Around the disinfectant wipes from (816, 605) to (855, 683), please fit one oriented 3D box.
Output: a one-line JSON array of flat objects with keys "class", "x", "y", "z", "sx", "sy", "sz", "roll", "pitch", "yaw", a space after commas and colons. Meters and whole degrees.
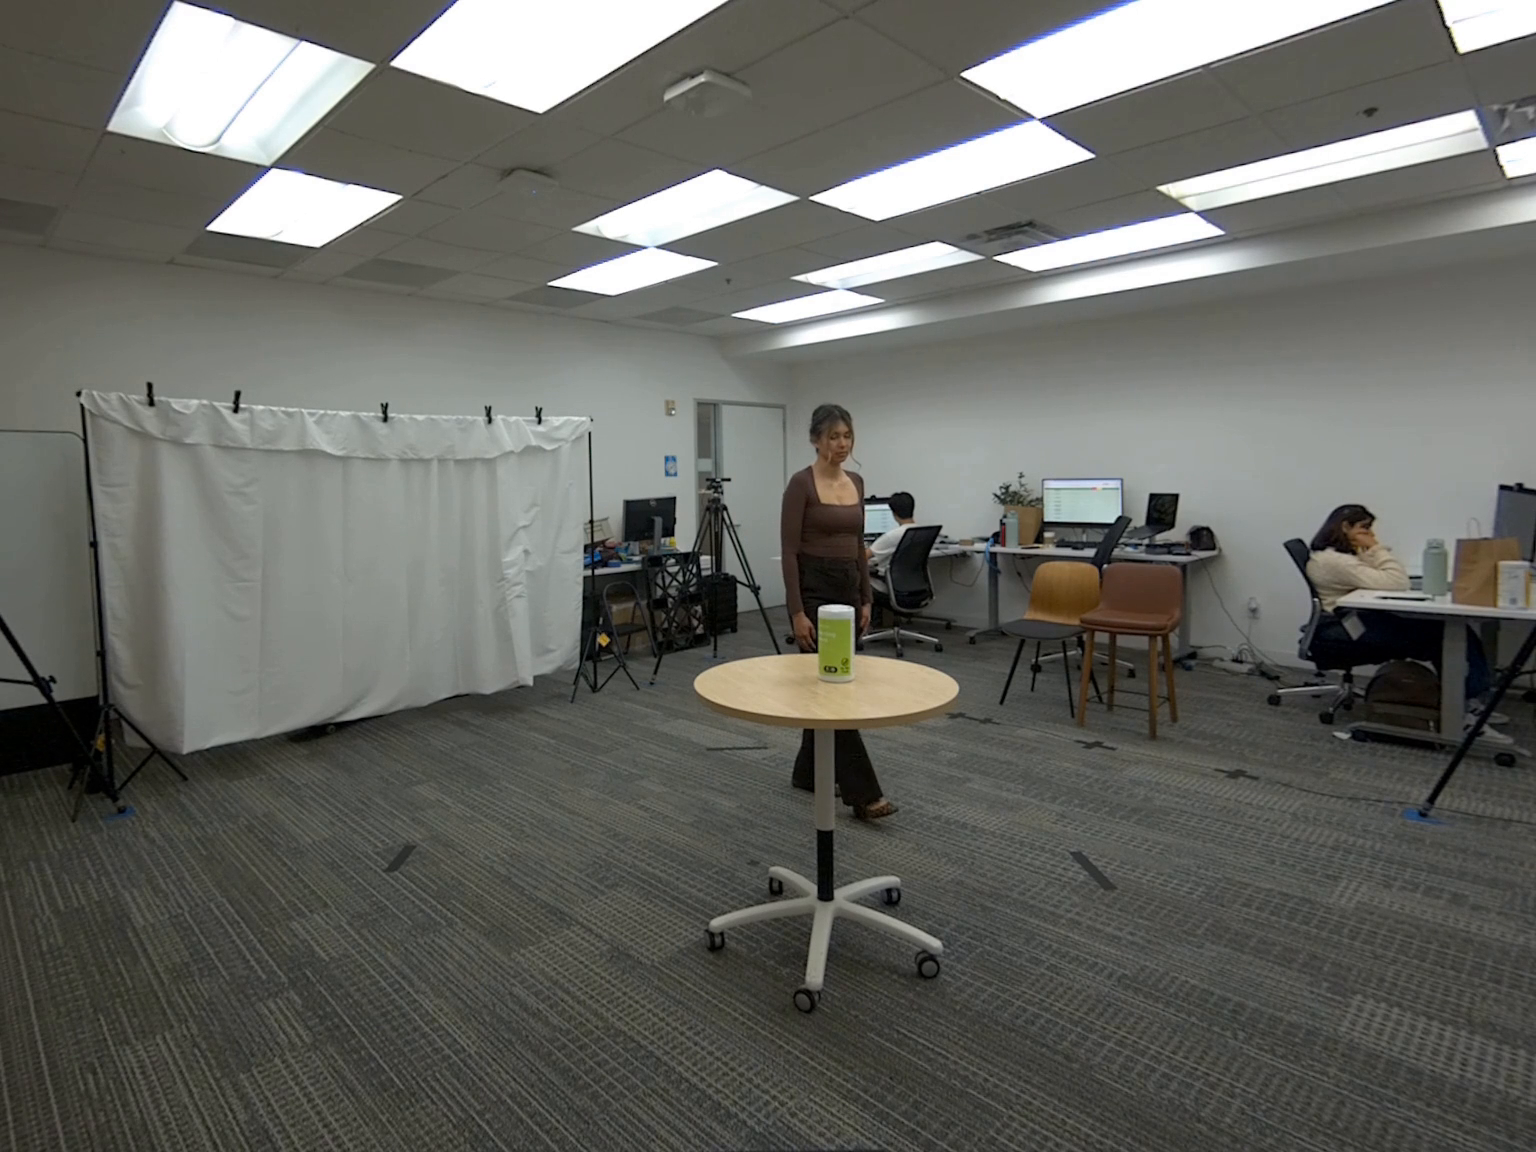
[{"class": "disinfectant wipes", "x": 0.207, "y": 0.203, "z": 2.532, "sx": 0.118, "sy": 0.216, "sz": 0.118, "roll": -2, "pitch": 6, "yaw": -1}]
